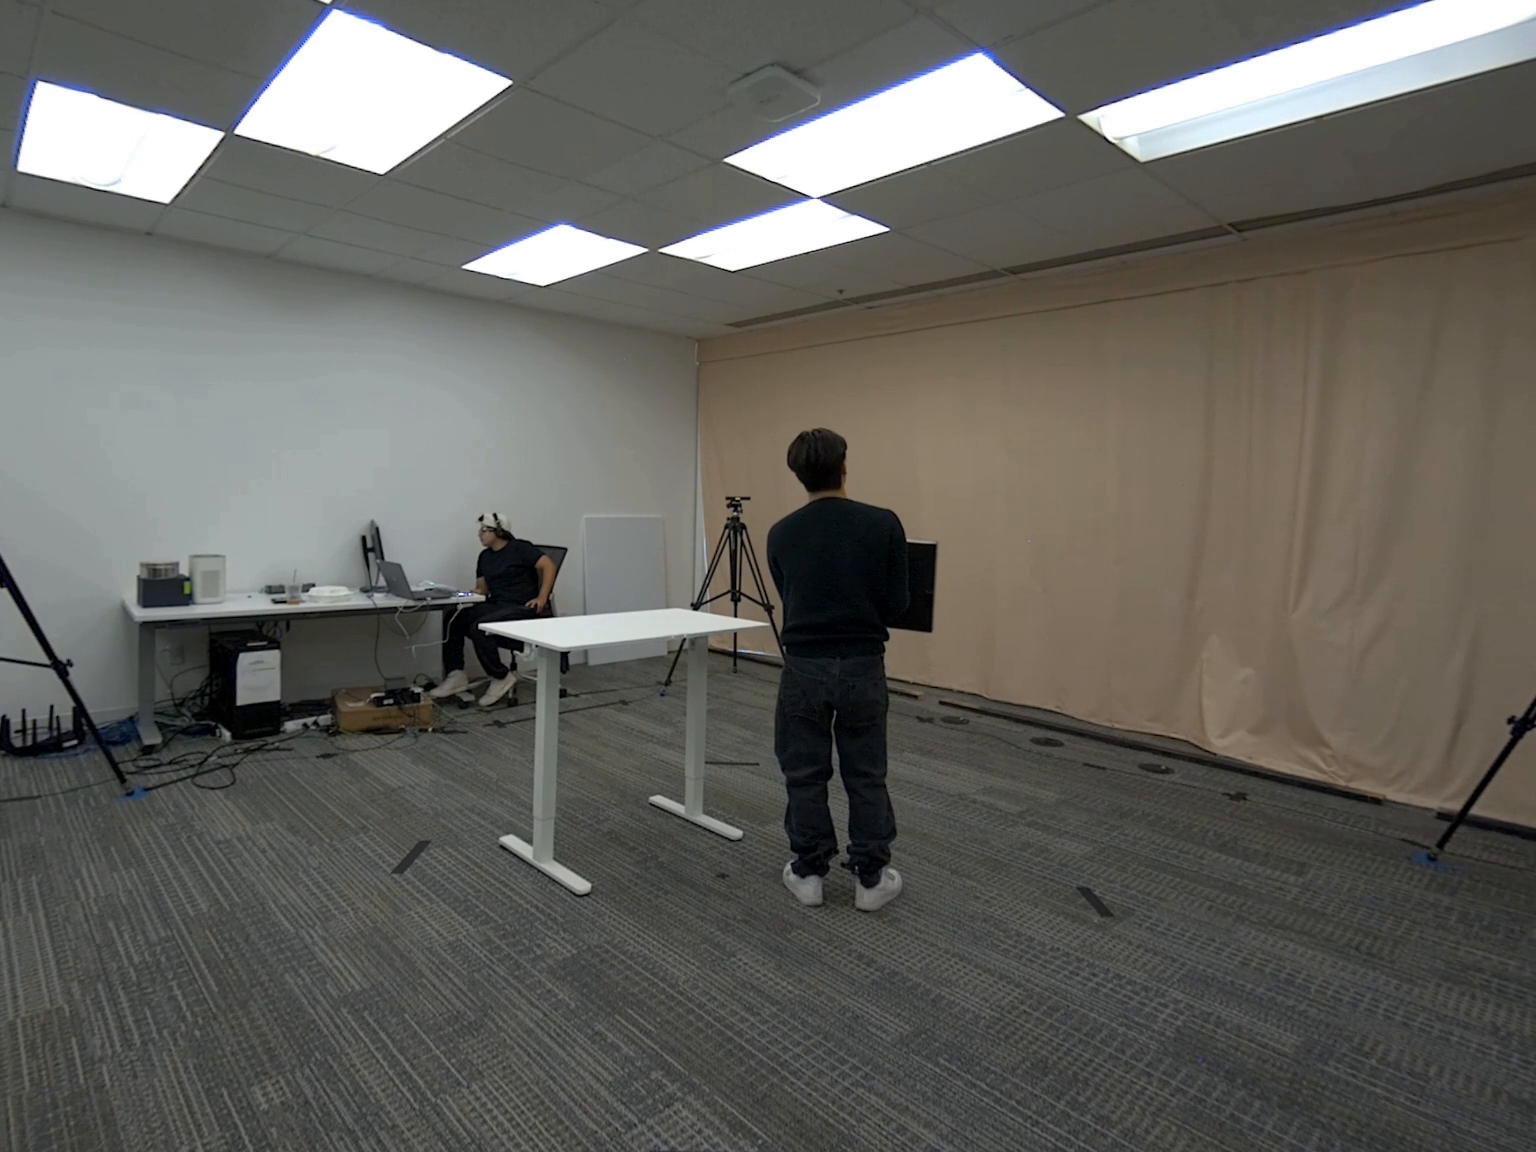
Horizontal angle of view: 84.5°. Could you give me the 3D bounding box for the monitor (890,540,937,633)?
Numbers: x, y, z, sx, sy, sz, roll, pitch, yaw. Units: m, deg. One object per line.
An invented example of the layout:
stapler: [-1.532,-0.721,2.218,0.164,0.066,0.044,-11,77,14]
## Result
monitor: [0.326,0.113,3.168,0.547,0.519,0.185,6,10,19]
